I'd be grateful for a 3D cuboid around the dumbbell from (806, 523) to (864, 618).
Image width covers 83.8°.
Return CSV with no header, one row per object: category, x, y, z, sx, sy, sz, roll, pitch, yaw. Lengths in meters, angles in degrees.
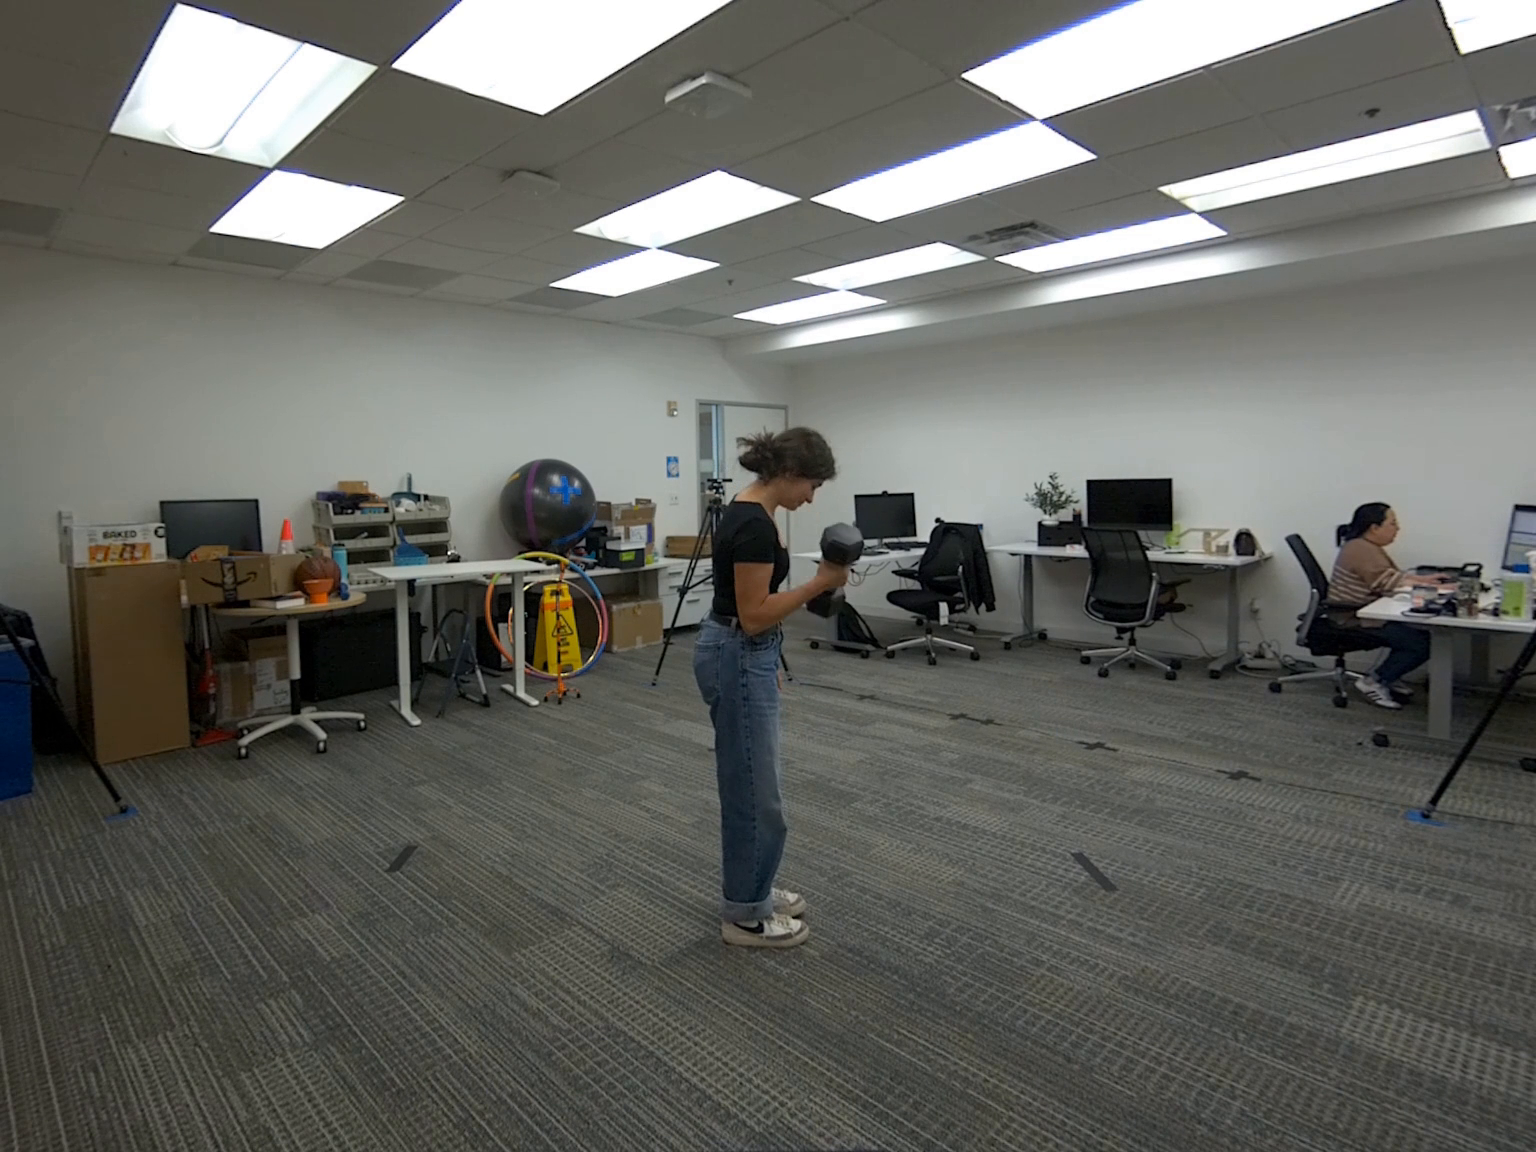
dumbbell,0.189,-0.002,2.489,0.121,0.288,0.112,-21,52,-34
